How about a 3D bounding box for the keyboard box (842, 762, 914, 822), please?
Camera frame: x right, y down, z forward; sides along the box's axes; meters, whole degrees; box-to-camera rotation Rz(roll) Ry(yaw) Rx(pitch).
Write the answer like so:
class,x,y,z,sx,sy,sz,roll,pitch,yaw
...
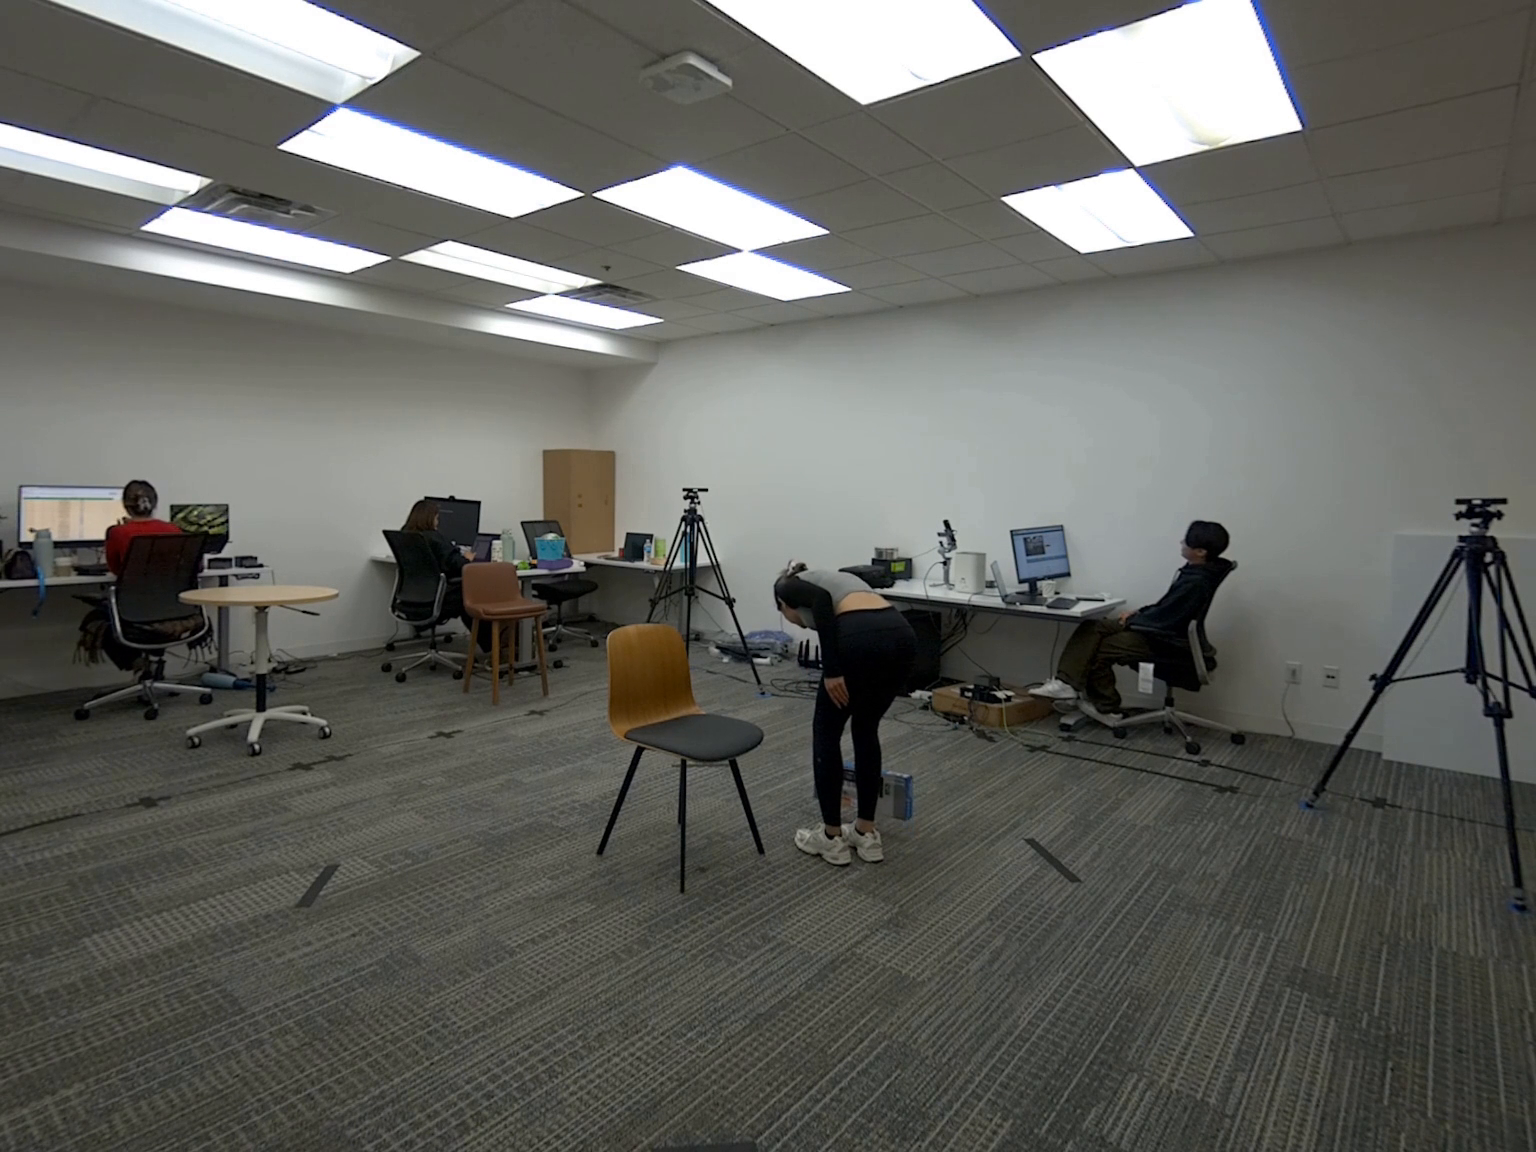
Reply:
class,x,y,z,sx,sy,sz,roll,pitch,yaw
keyboard box,0.391,0.884,3.566,0.451,0.176,0.057,3,2,36
